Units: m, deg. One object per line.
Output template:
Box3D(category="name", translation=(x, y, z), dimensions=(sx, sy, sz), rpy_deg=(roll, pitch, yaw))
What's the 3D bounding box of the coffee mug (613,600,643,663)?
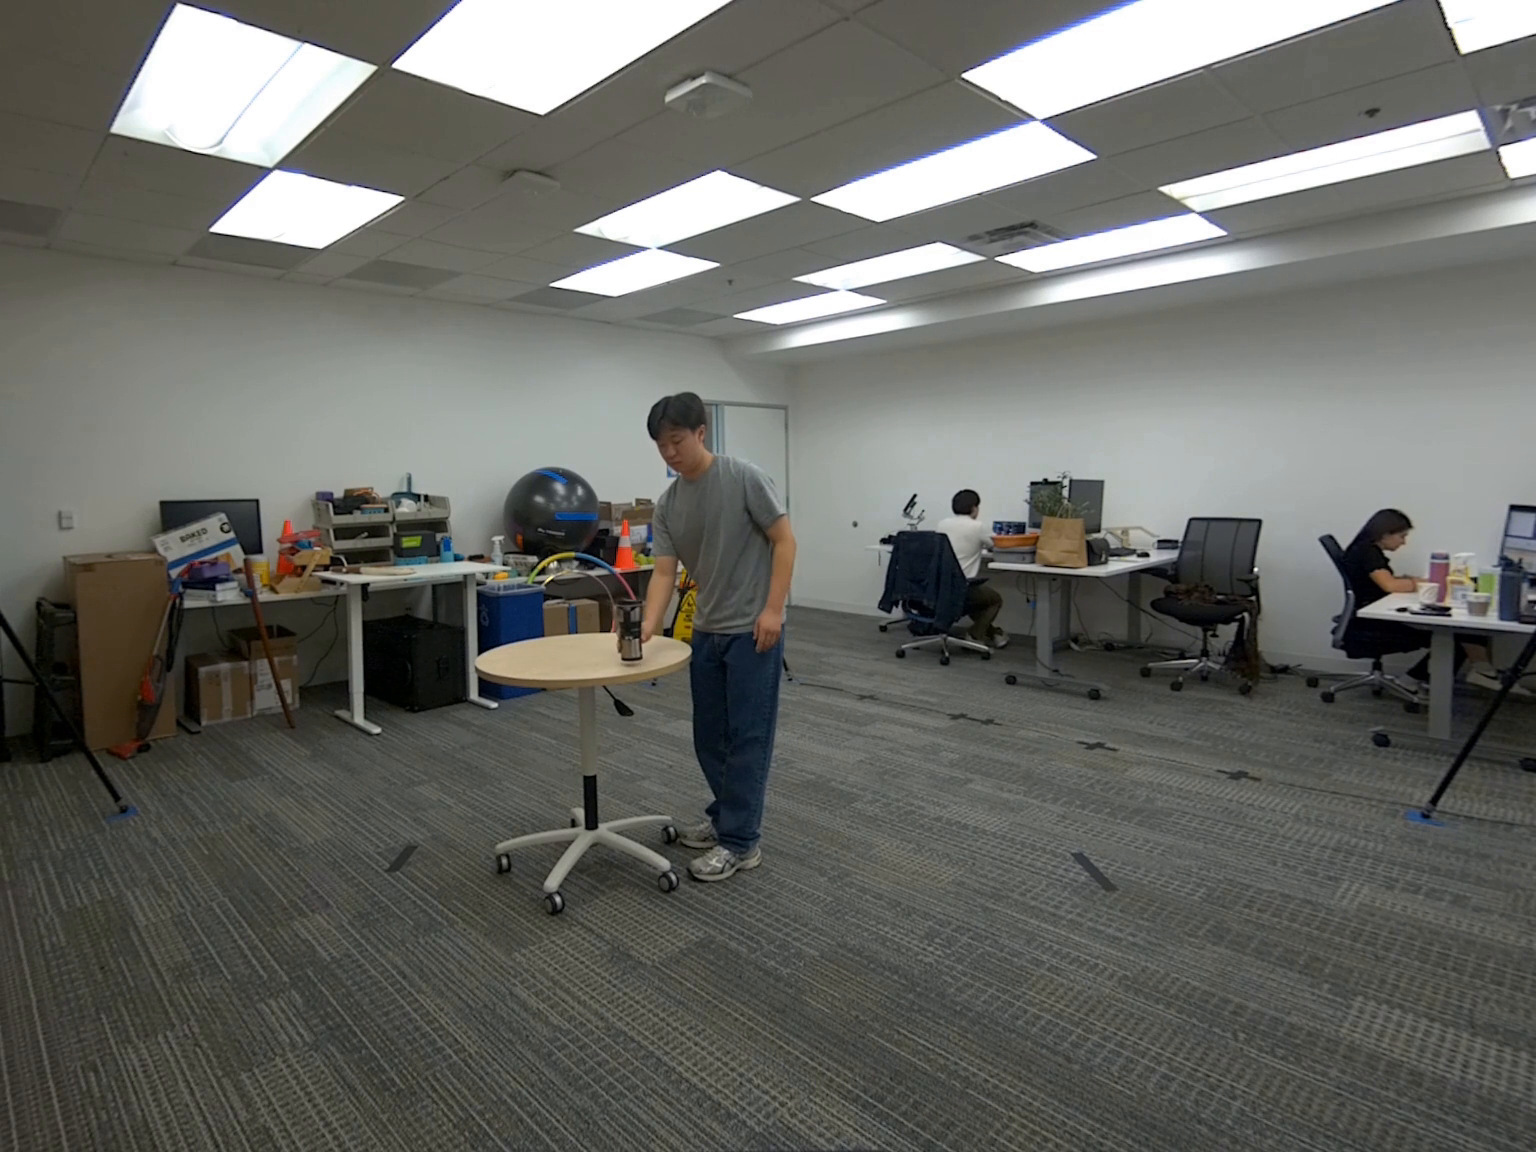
Box3D(category="coffee mug", translation=(-0.479, 0.182, 2.855), dimensions=(0.090, 0.203, 0.119), rpy_deg=(-1, 0, 23))
